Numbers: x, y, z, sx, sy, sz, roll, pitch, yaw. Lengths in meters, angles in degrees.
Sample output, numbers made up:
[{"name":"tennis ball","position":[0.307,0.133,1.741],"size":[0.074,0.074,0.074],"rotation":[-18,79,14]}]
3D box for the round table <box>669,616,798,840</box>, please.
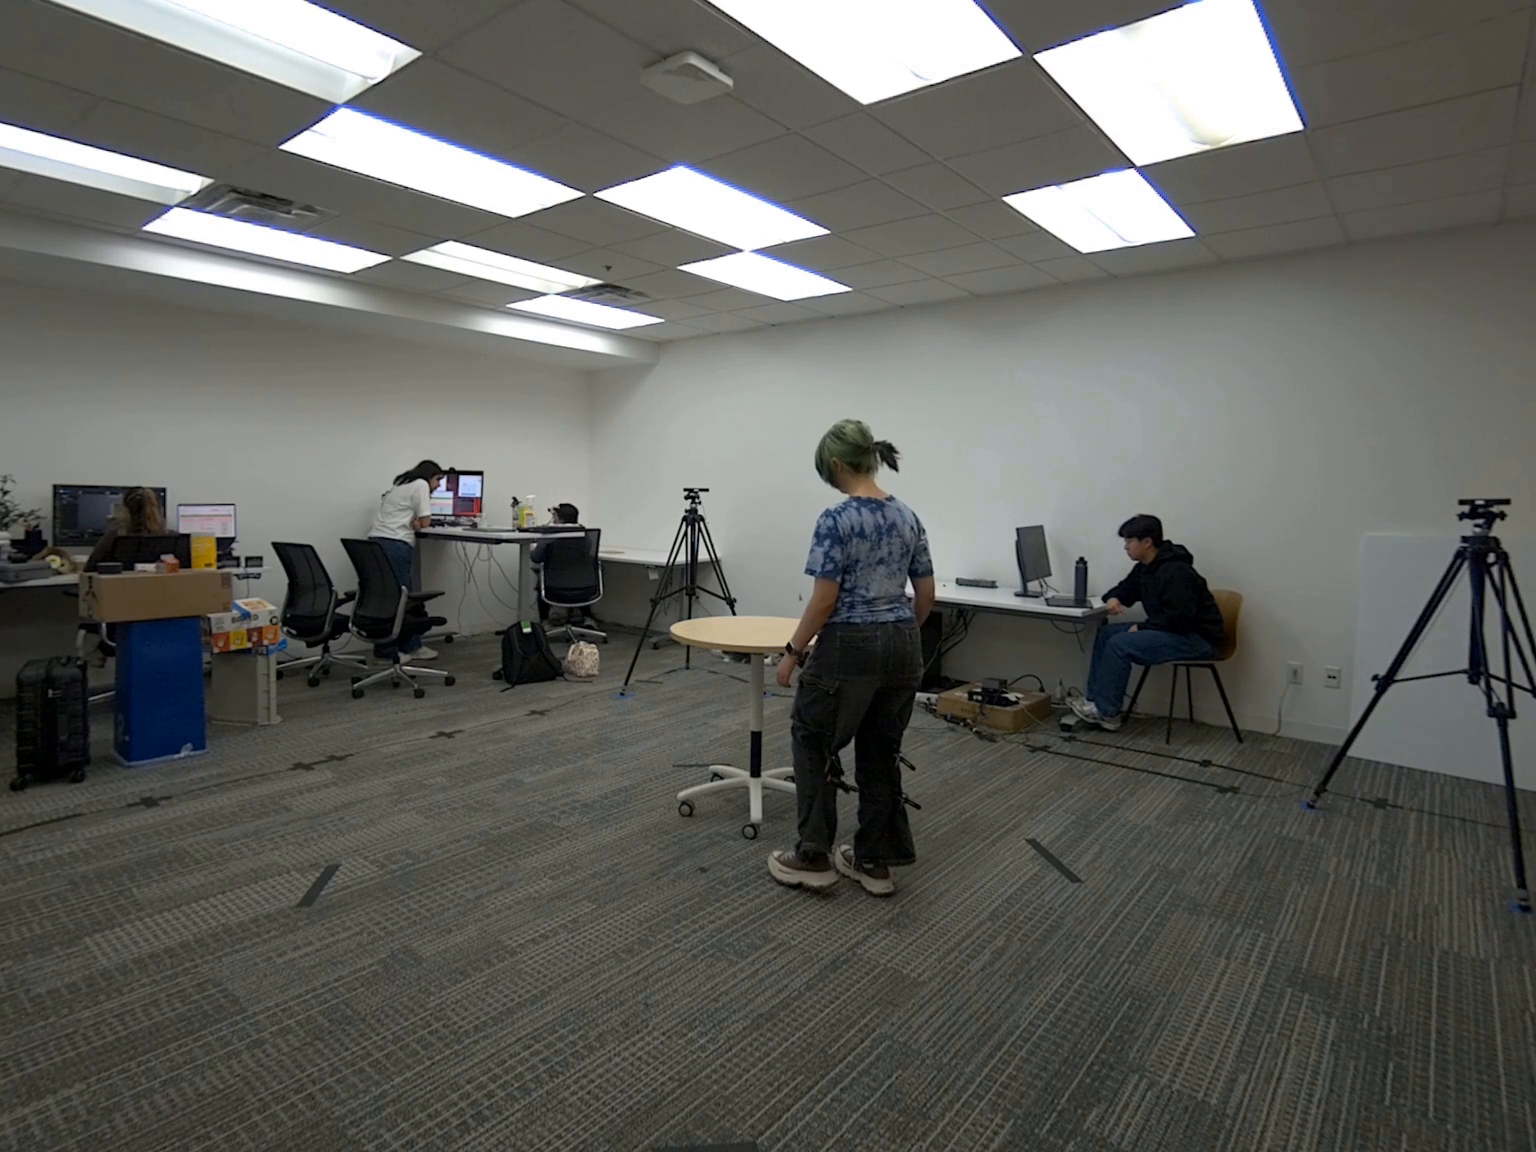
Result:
[{"name":"round table","position":[-0.068,0.626,3.707],"size":[0.763,0.792,0.767],"rotation":[1,4,-2]}]
